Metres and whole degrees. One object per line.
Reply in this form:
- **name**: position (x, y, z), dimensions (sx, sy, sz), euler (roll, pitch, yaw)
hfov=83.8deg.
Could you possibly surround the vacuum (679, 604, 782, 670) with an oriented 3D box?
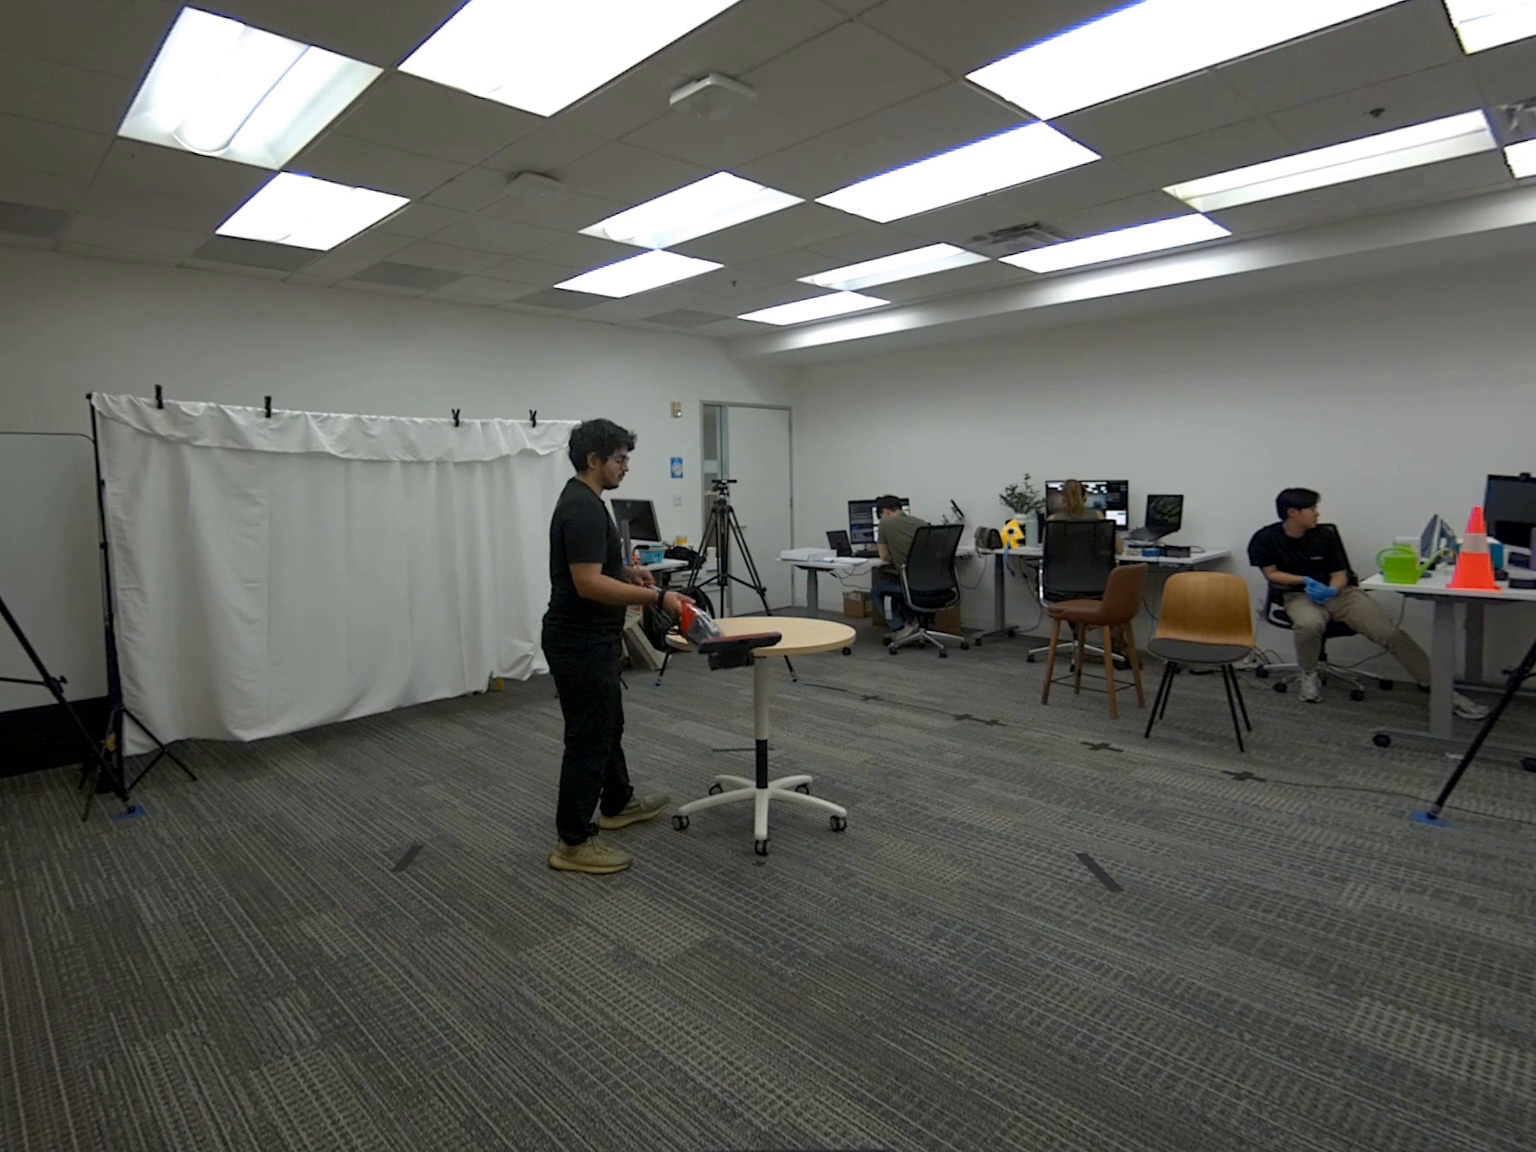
- **vacuum**: position (-0.312, 0.144, 2.977), dimensions (0.248, 0.142, 1.078), euler (-9, 13, -22)
